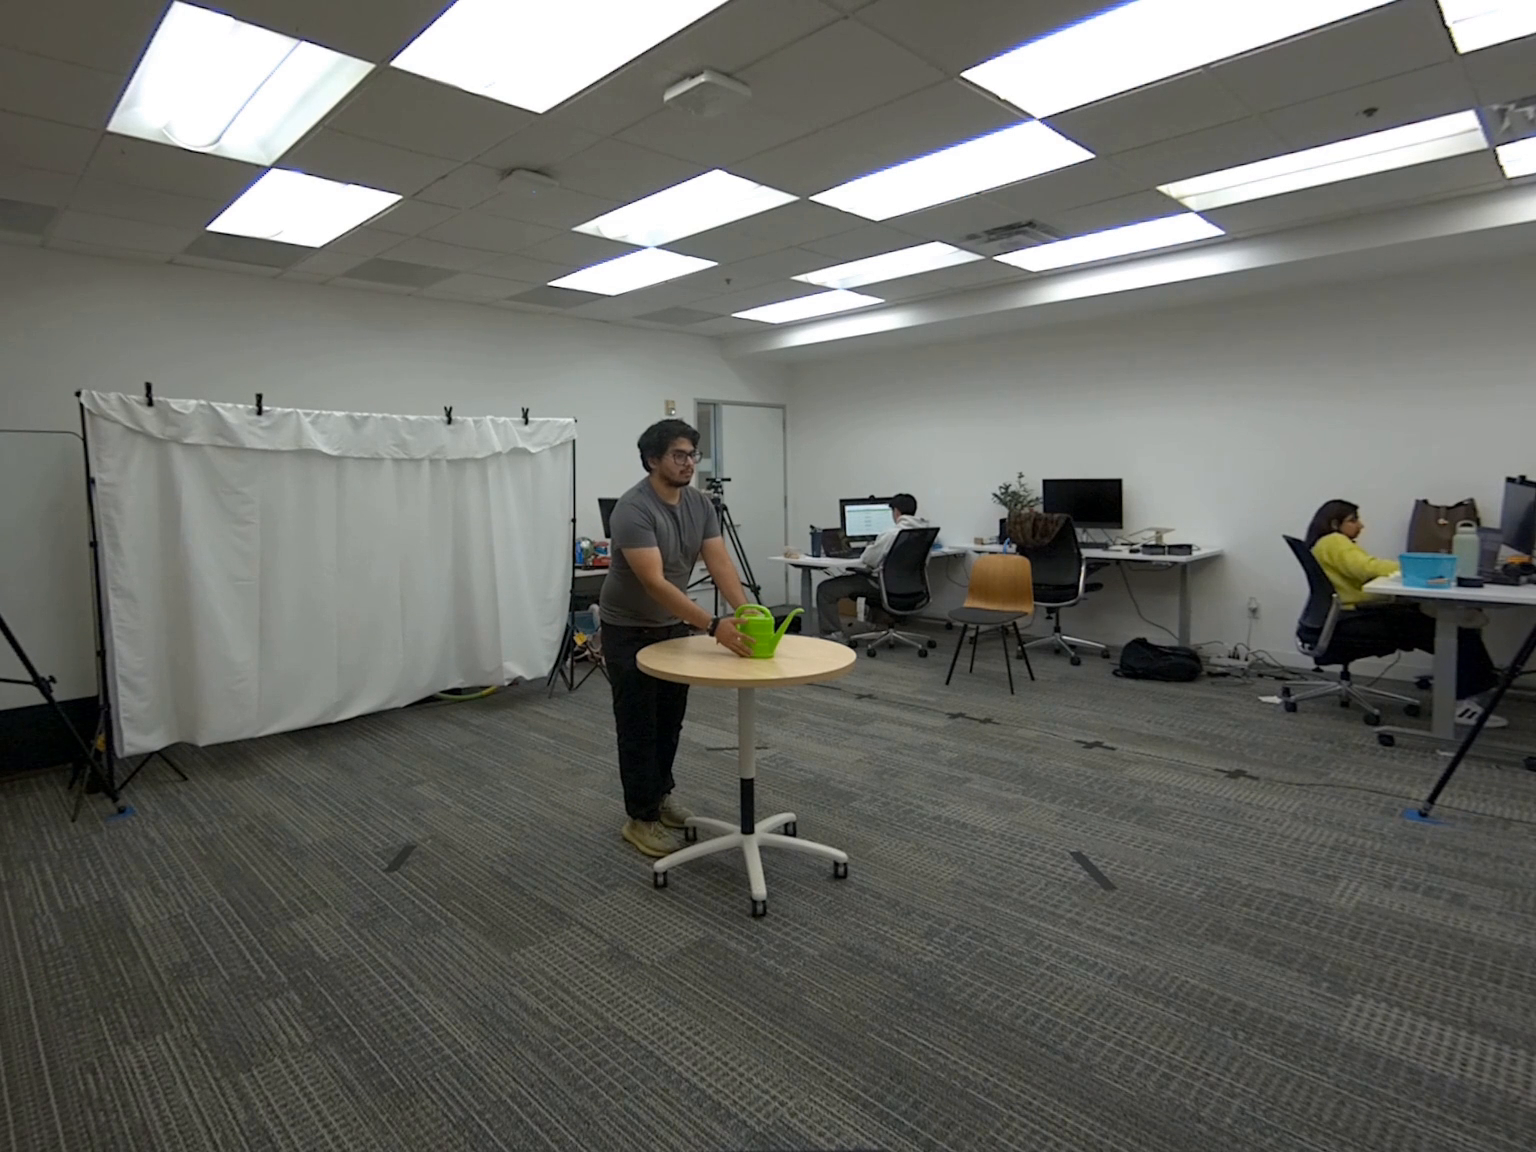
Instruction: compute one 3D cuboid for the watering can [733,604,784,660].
[{"bbox_3d":[-0.012,0.191,2.921,0.095,0.176,0.286,-4,4,-41],"label":"watering can"}]
